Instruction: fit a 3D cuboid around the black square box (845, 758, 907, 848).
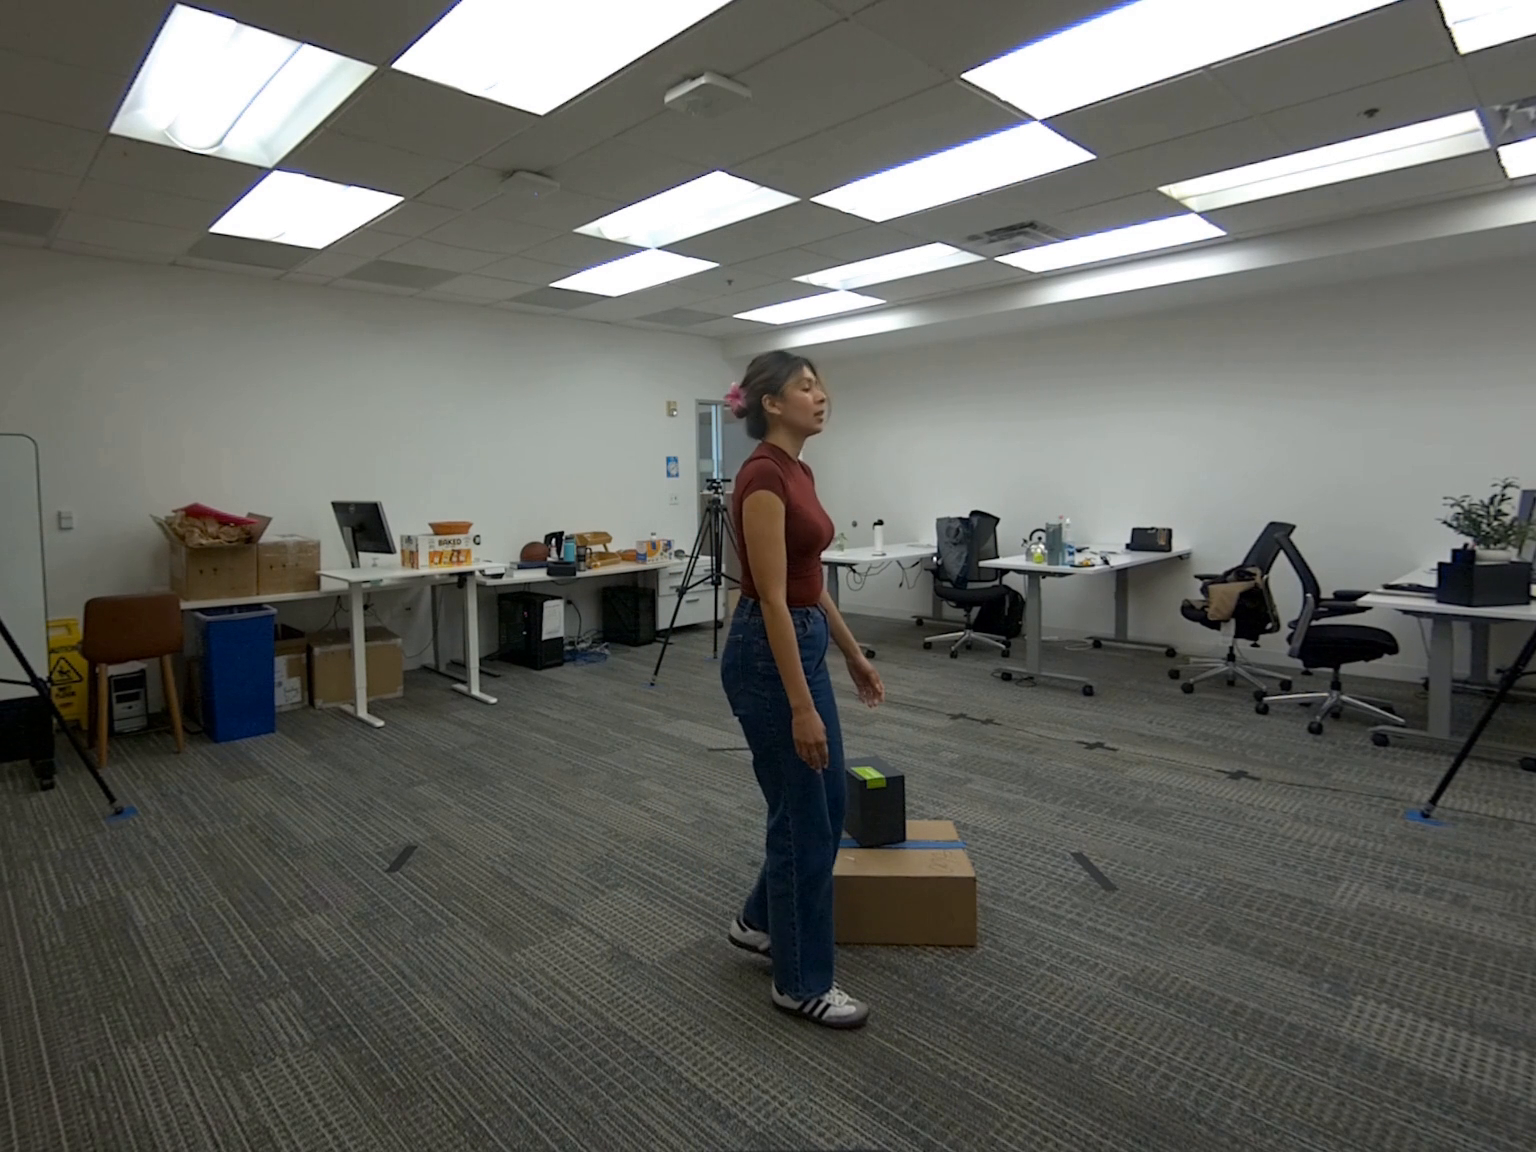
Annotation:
[{"bbox_3d":[0.333,0.736,2.829,0.154,0.216,0.231,-2,4,-13],"label":"black square box"}]
